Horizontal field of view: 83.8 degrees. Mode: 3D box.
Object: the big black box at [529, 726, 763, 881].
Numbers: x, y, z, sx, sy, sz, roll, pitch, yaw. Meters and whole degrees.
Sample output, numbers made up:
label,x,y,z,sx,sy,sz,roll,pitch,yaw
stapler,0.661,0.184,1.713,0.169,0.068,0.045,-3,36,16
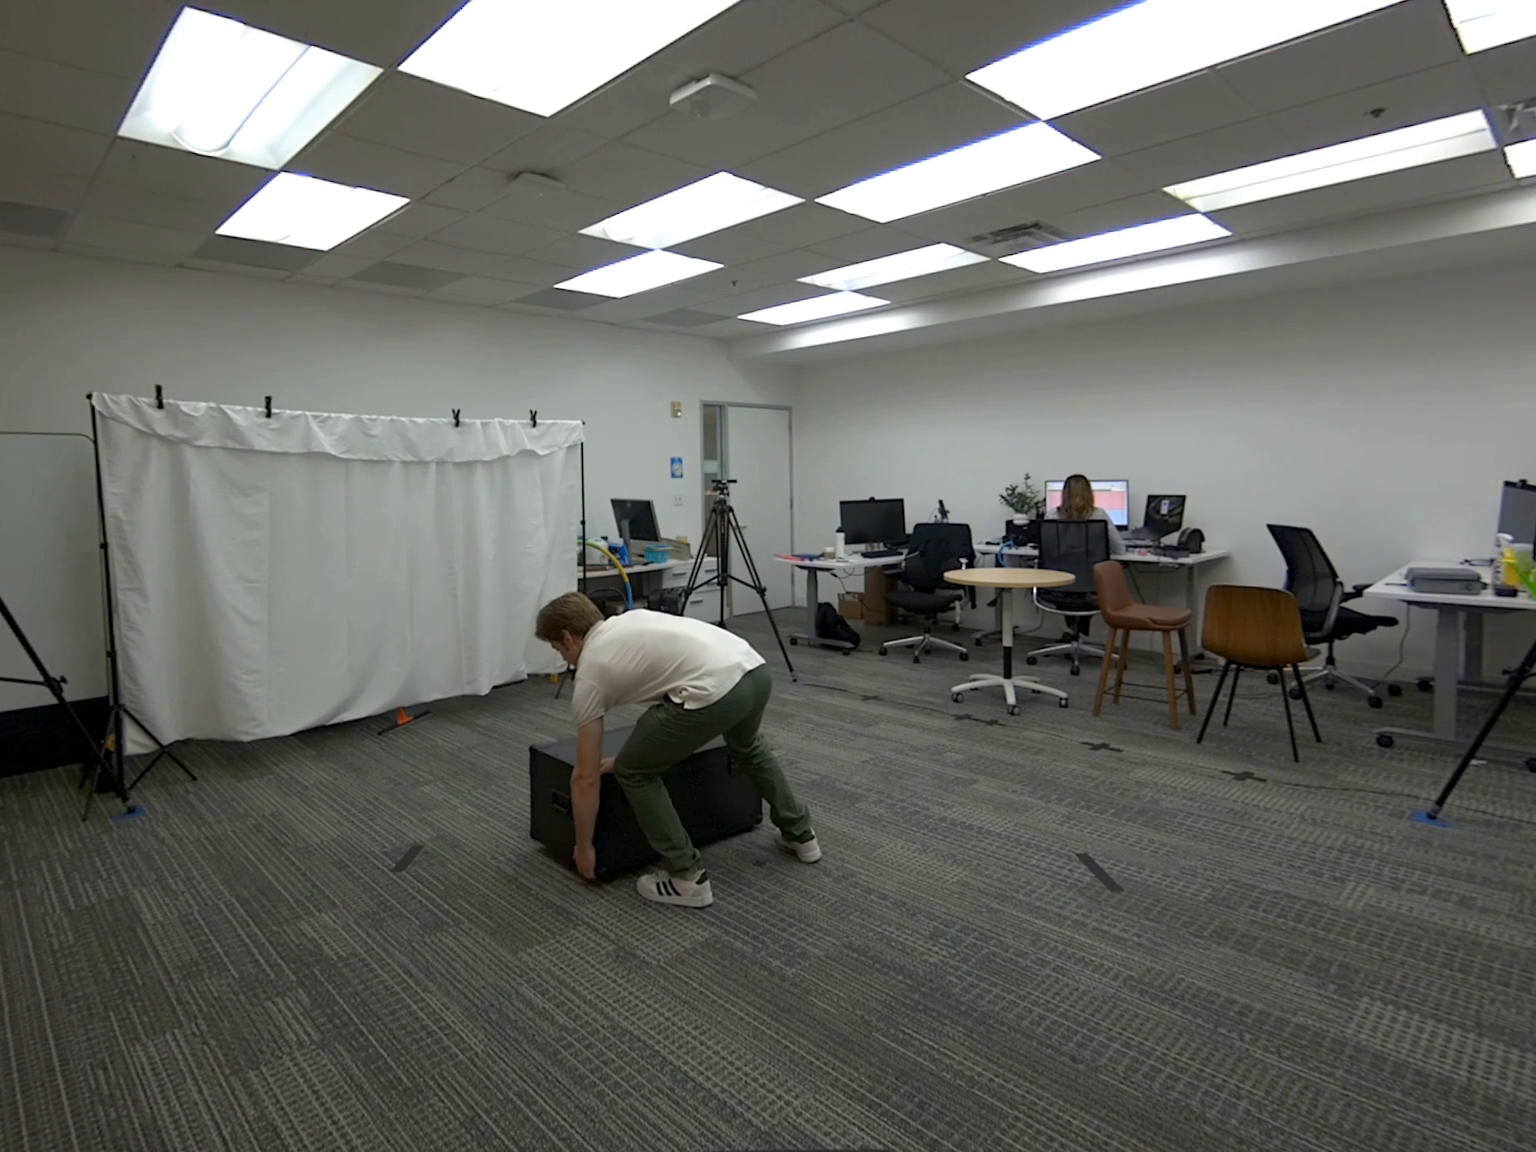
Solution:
label,x,y,z,sx,sy,sz,roll,pitch,yaw
big black box,-0.445,0.829,3.371,0.839,0.394,0.537,-6,8,-43
